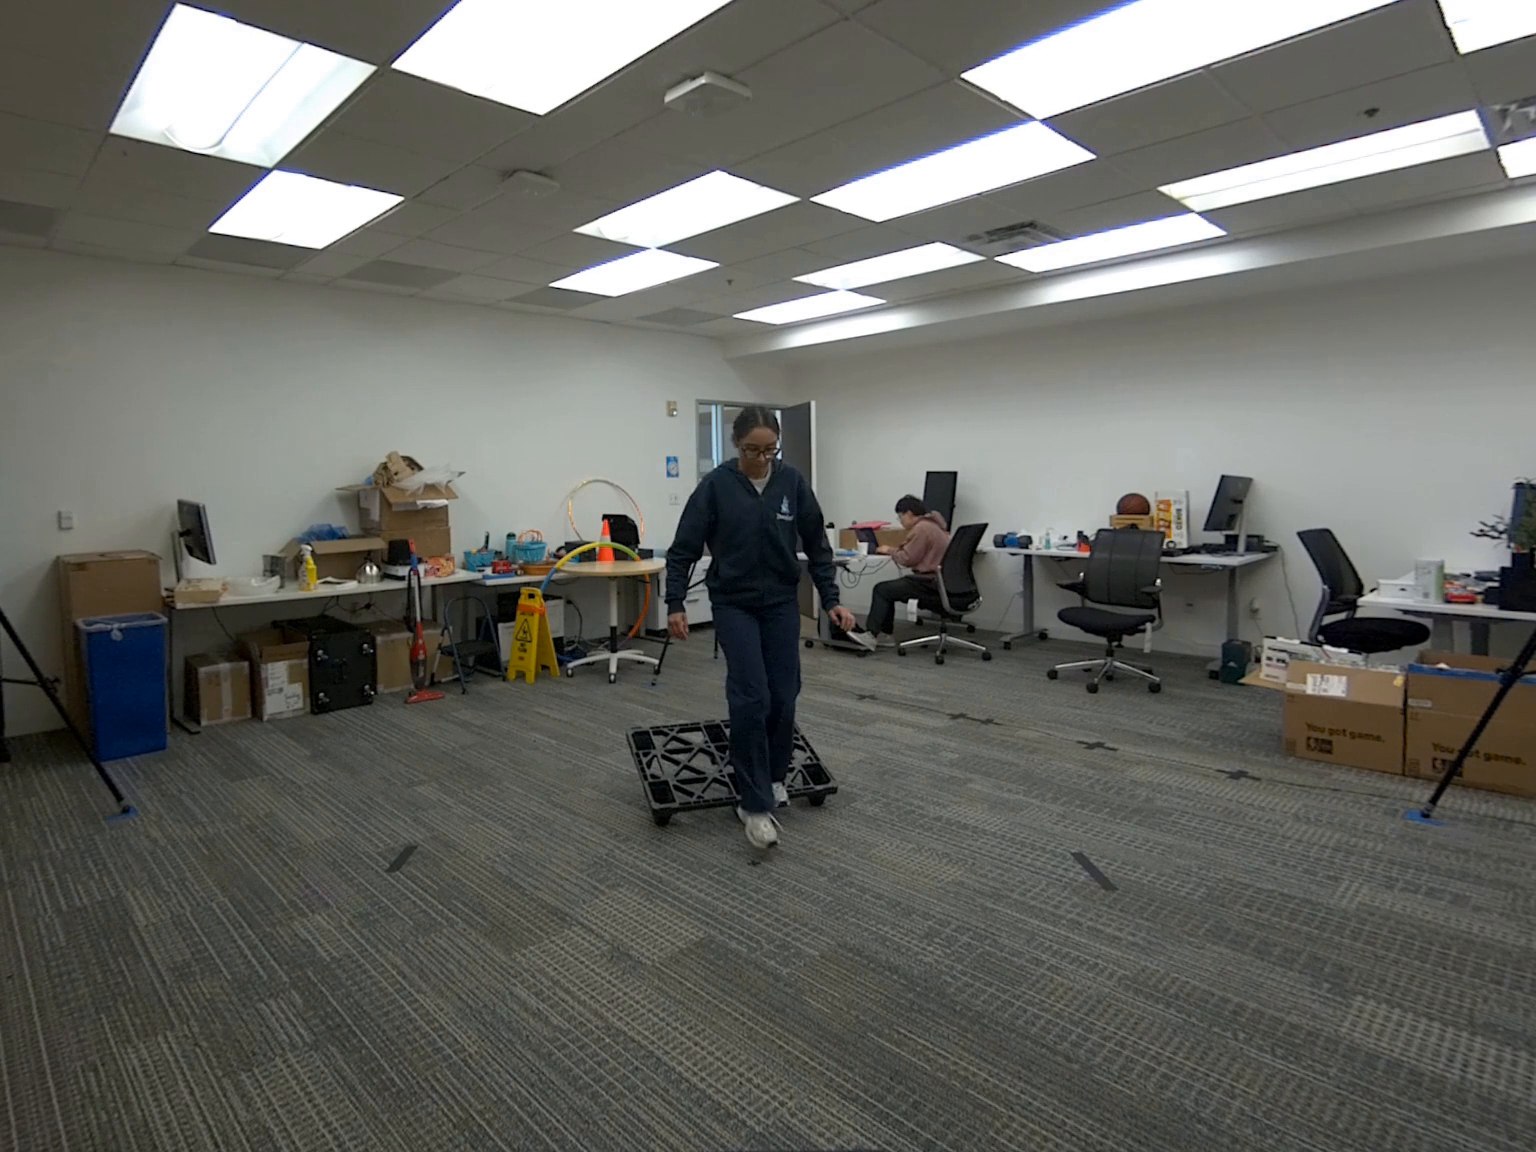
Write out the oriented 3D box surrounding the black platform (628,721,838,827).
[{"bbox_3d":[-0.176,0.853,3.754,0.793,0.141,0.624,-3,22,-17],"label":"black platform"}]
